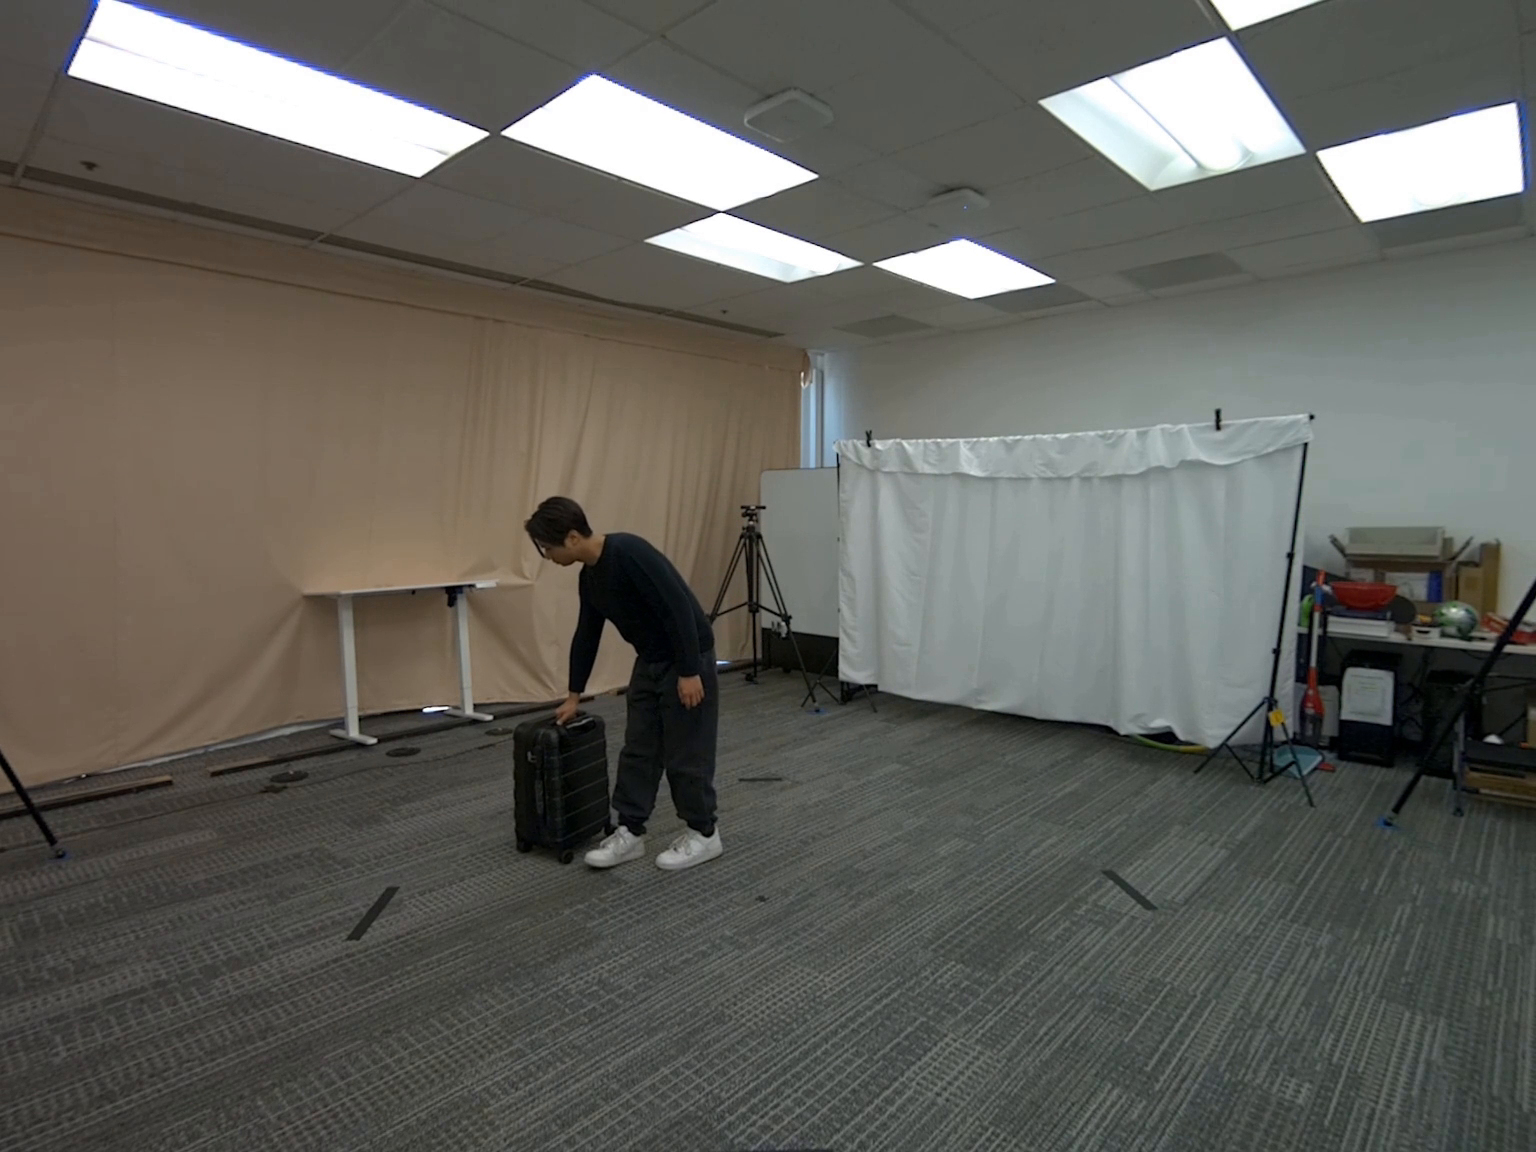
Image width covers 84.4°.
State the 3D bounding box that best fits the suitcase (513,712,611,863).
[{"bbox_3d":[-0.850,0.838,3.462,0.255,0.548,0.366,0,5,30],"label":"suitcase"}]
